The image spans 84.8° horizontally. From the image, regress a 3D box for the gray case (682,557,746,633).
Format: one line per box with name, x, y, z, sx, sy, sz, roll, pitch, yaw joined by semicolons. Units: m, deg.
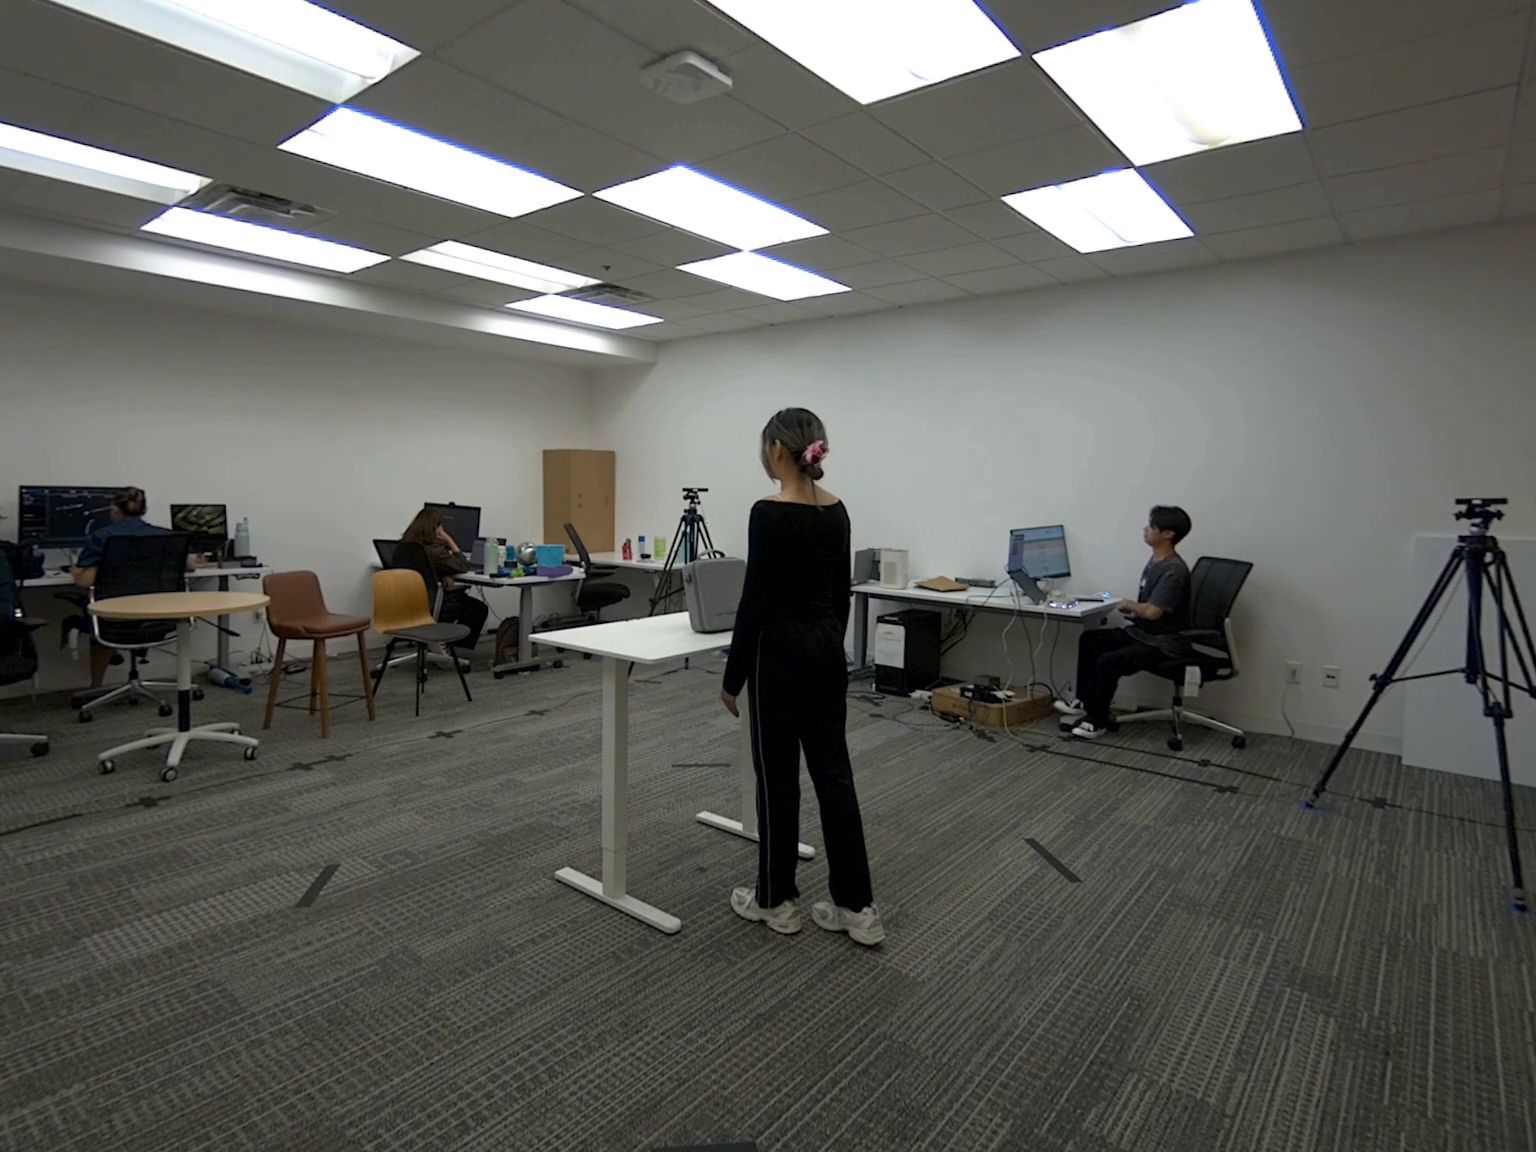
gray case;-0.182;0.059;3.061;0.249;0.262;0.107;-4;-8;-41
